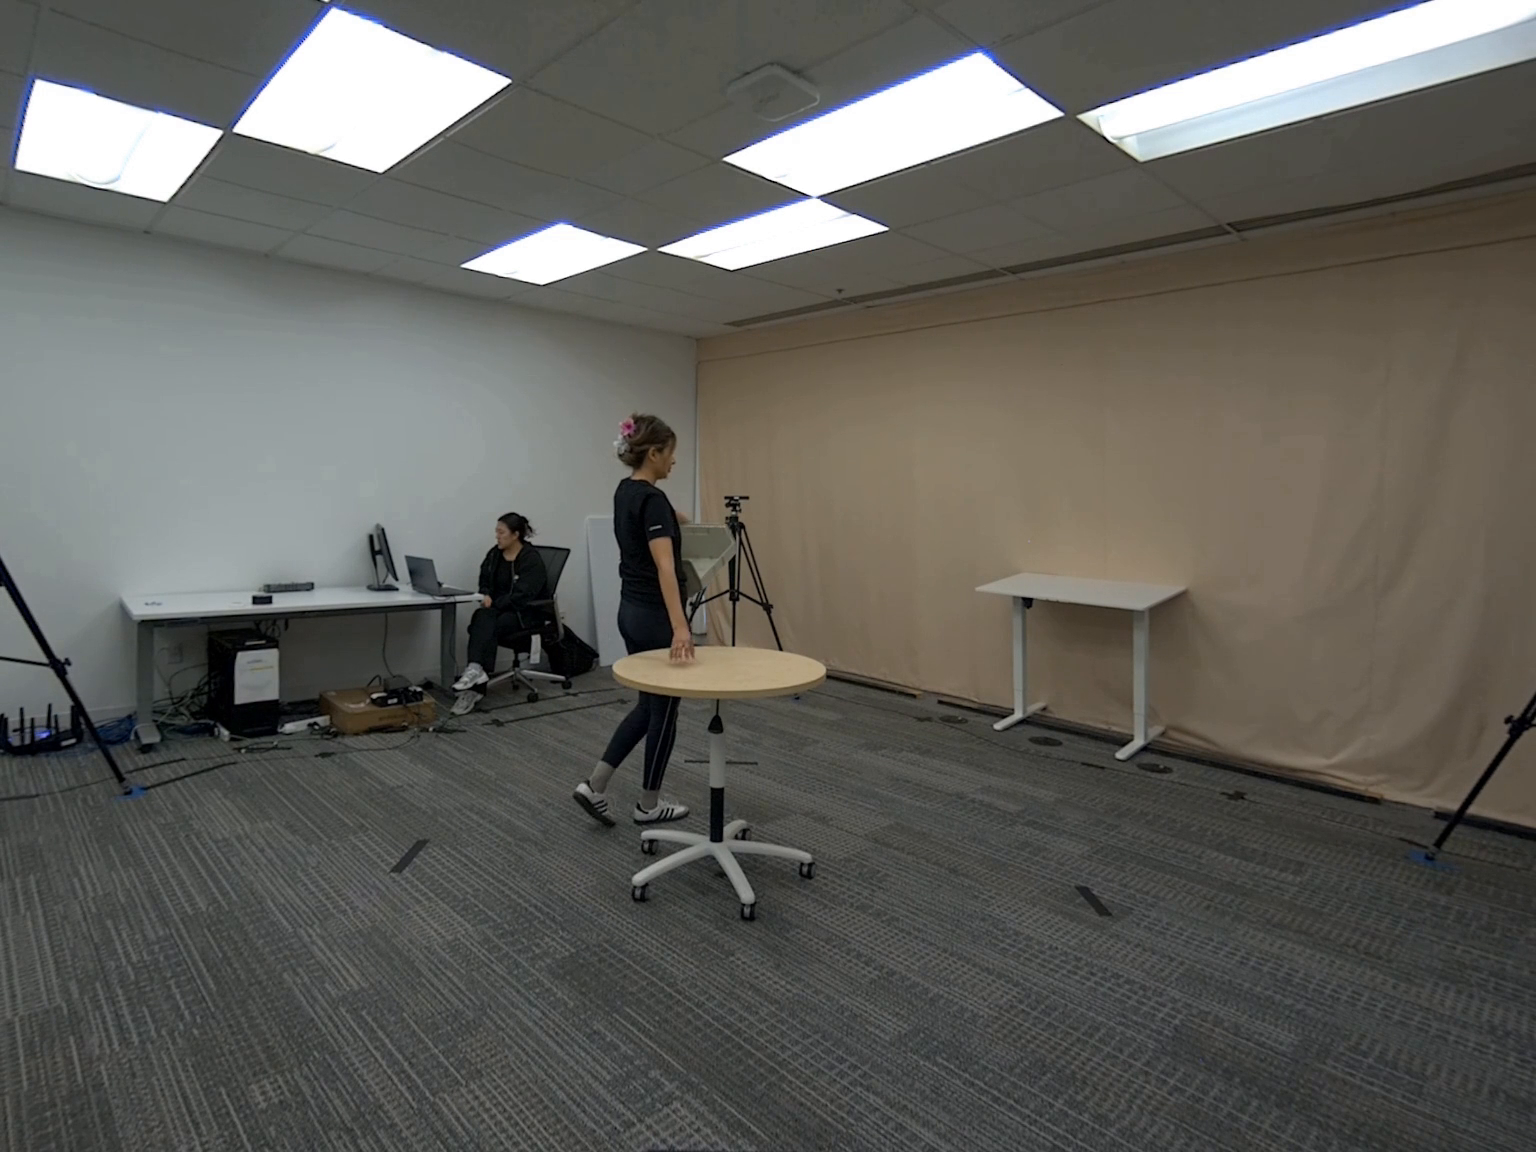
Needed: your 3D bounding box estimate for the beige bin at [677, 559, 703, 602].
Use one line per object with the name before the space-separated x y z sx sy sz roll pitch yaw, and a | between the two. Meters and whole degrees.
beige bin | -0.405 -0.074 3.829 0.384 0.185 0.423 1 25 21
